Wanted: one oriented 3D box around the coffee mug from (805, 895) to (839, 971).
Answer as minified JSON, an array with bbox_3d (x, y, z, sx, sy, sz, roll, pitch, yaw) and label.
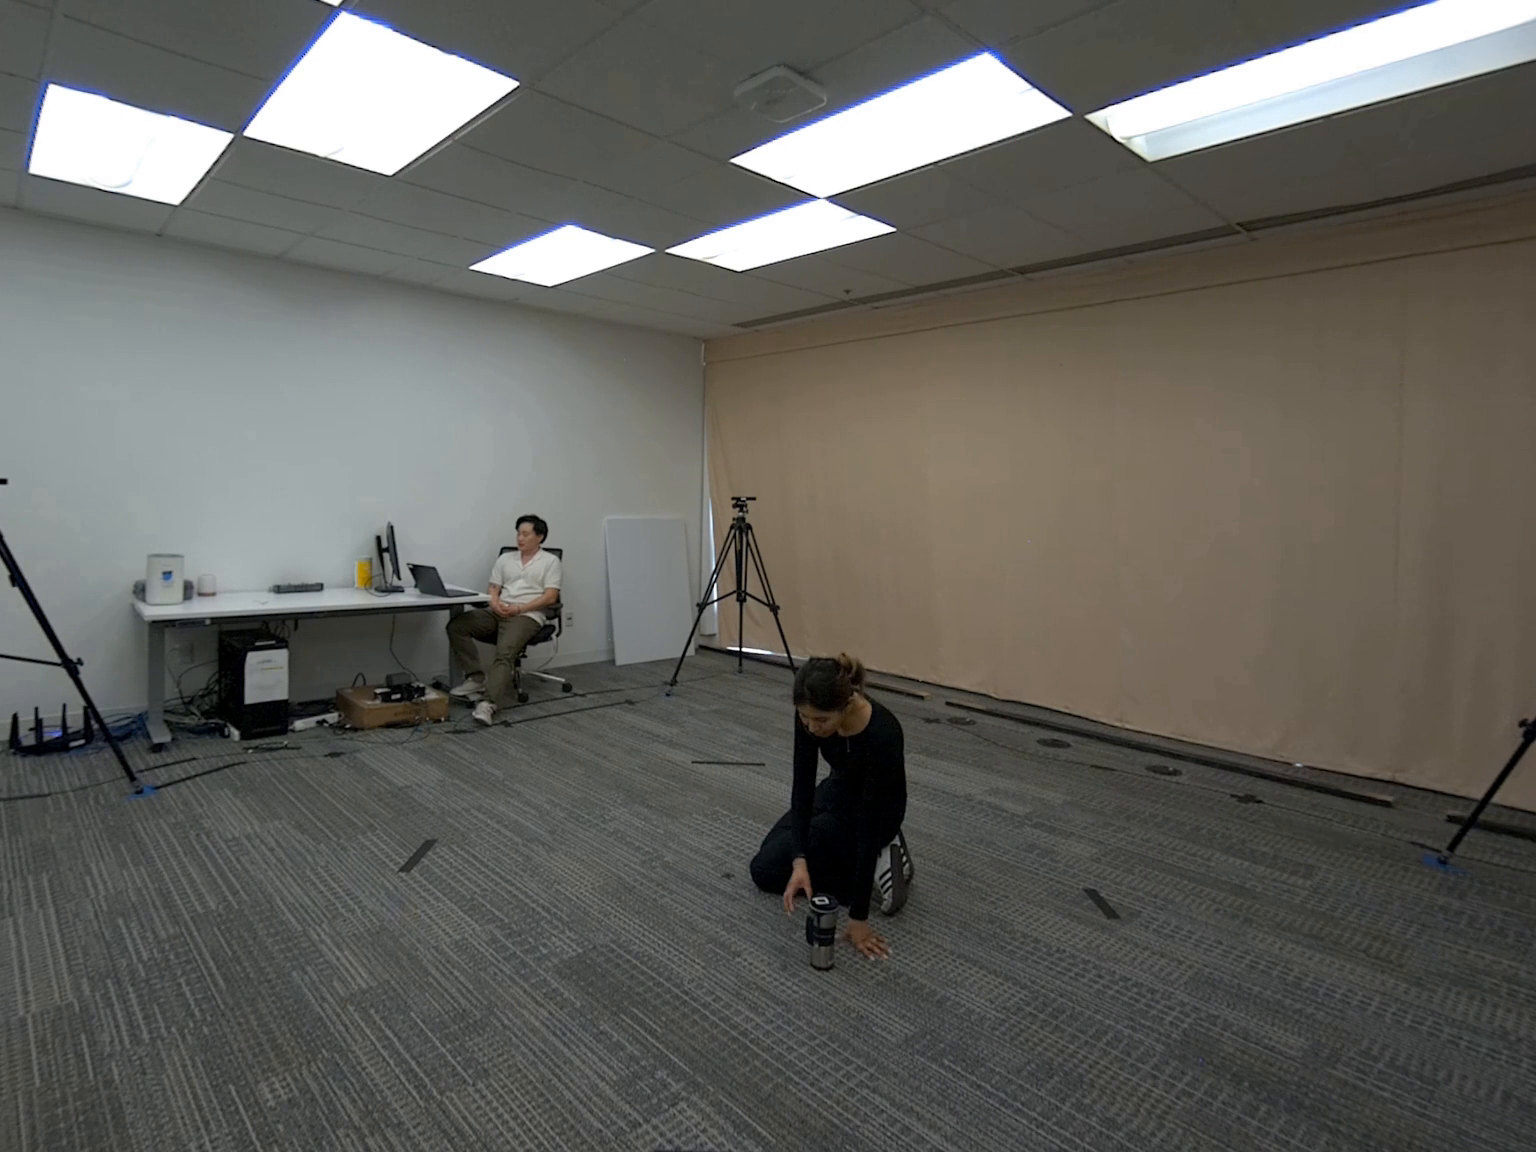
[{"bbox_3d":[0.141,1.074,2.507,0.119,0.202,0.090,4,5,-31],"label":"coffee mug"}]
